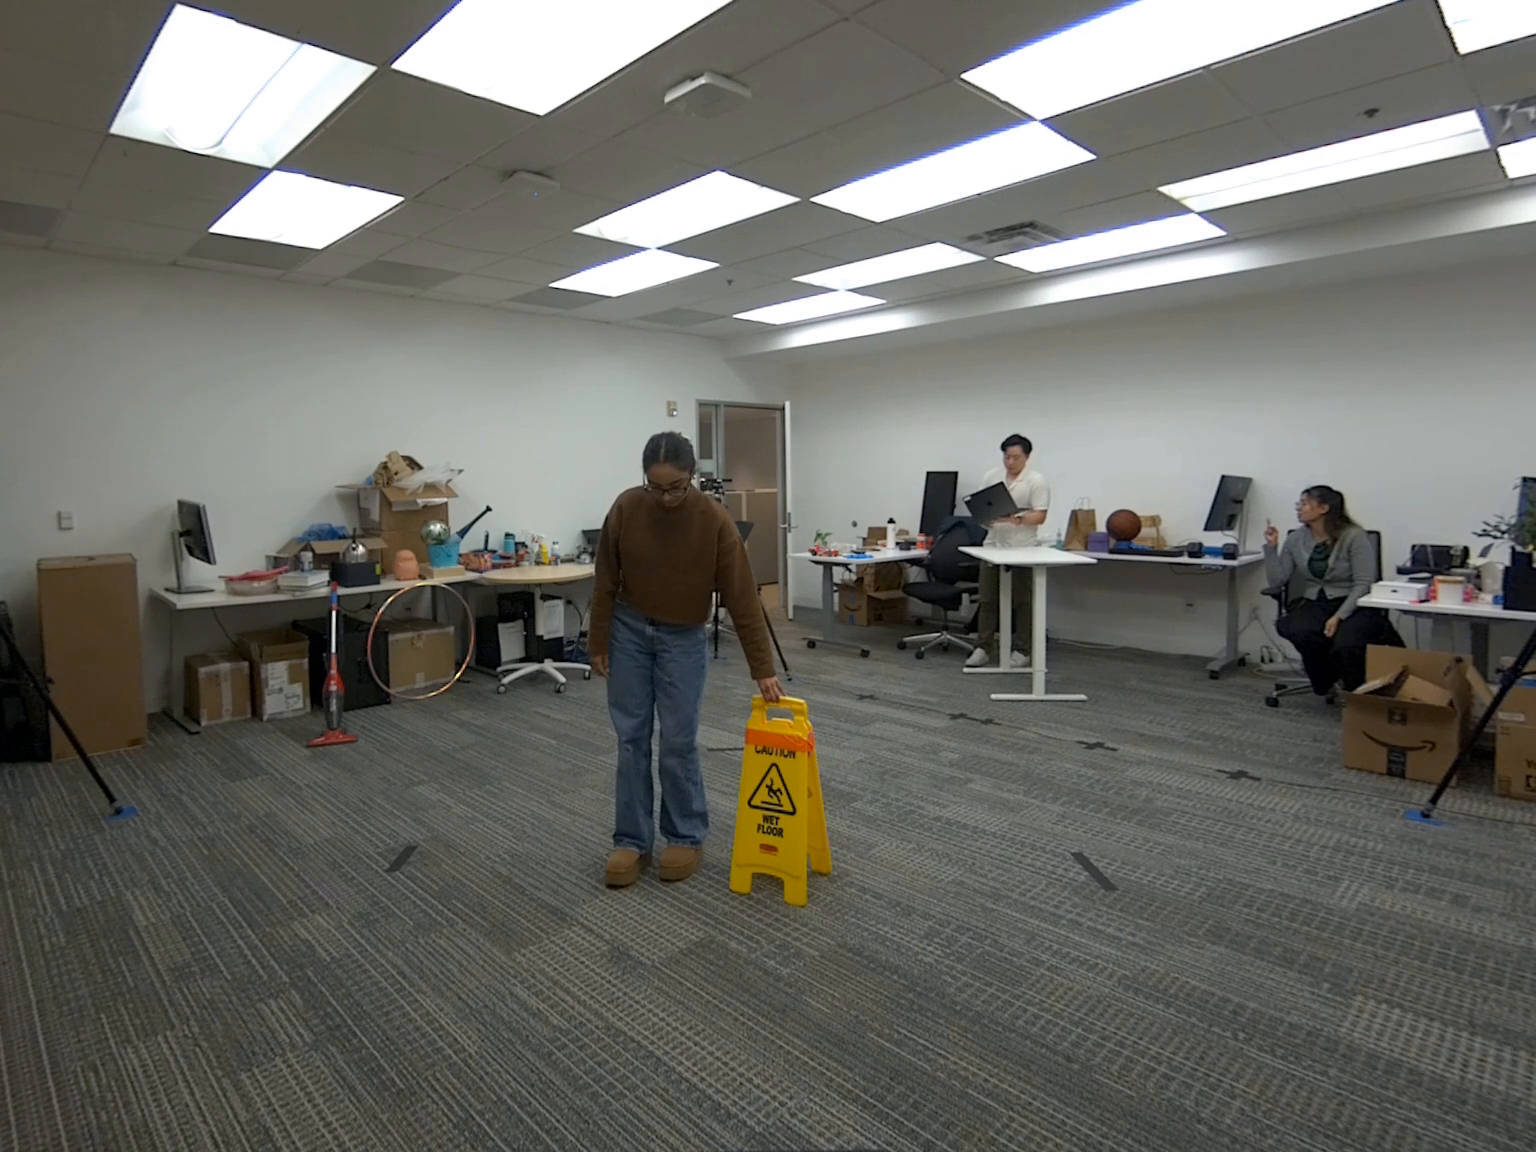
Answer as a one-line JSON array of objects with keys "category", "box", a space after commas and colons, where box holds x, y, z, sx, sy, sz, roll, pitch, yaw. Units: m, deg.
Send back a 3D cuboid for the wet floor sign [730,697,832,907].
[{"category": "wet floor sign", "box": [0.048, 0.740, 2.936, 0.289, 0.644, 0.284, 1, 5, 25]}]
